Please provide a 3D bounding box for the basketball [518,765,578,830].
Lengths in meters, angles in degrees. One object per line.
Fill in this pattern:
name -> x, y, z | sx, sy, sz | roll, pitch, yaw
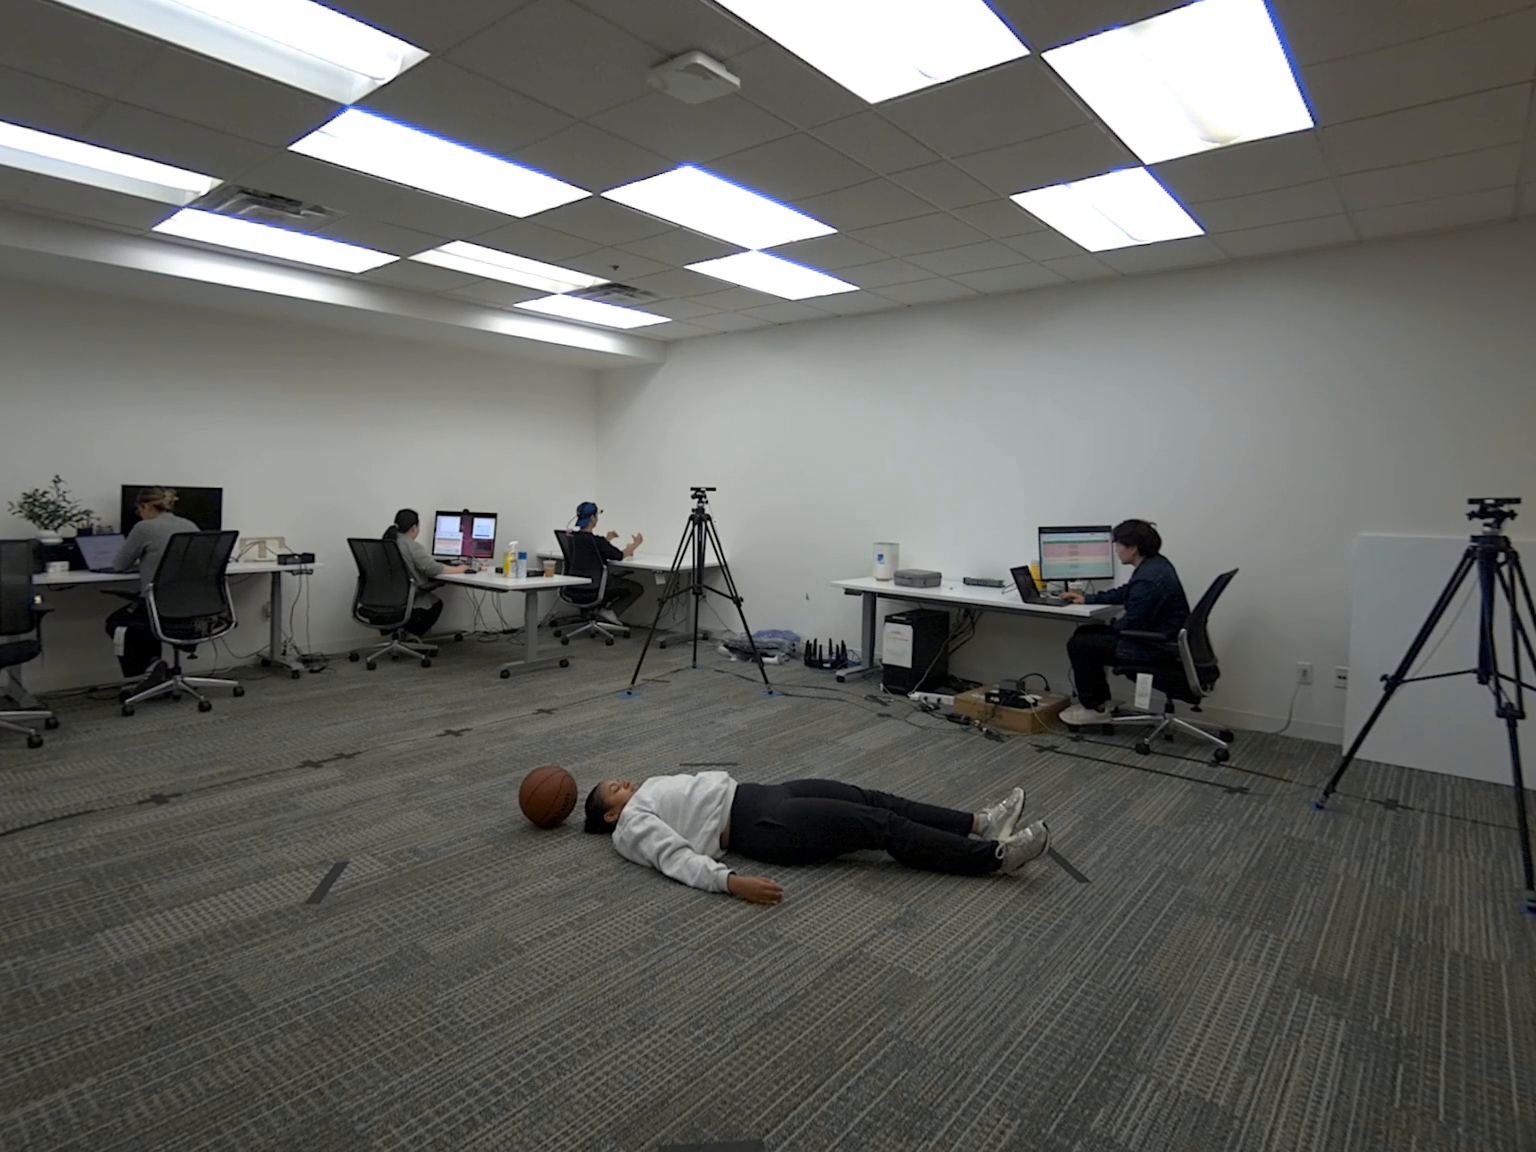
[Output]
basketball -> -0.917, 0.896, 3.491 | 0.236, 0.234, 0.238 | -2, 8, -2
